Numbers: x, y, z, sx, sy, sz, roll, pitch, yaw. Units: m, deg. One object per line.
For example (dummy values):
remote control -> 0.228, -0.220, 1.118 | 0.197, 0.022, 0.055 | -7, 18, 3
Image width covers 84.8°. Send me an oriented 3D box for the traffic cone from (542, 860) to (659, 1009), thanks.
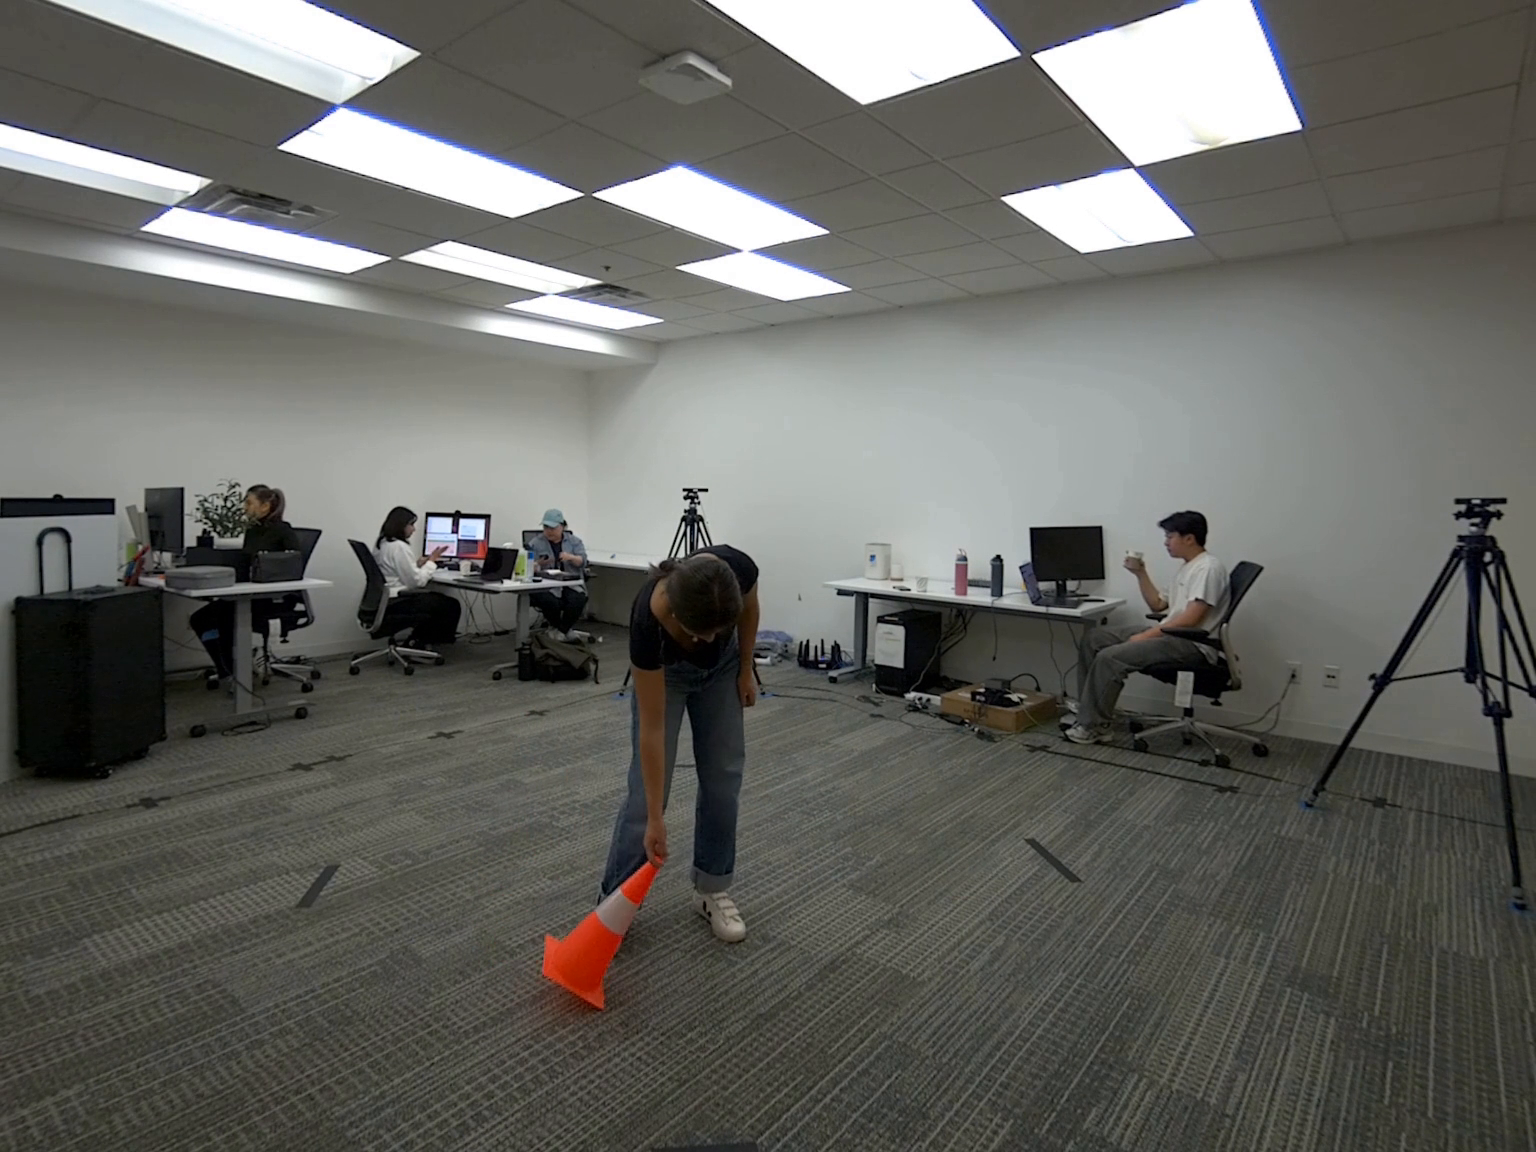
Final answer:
traffic cone -> -0.426, 0.930, 2.347 | 0.203, 0.384, 0.206 | 35, -2, -9
